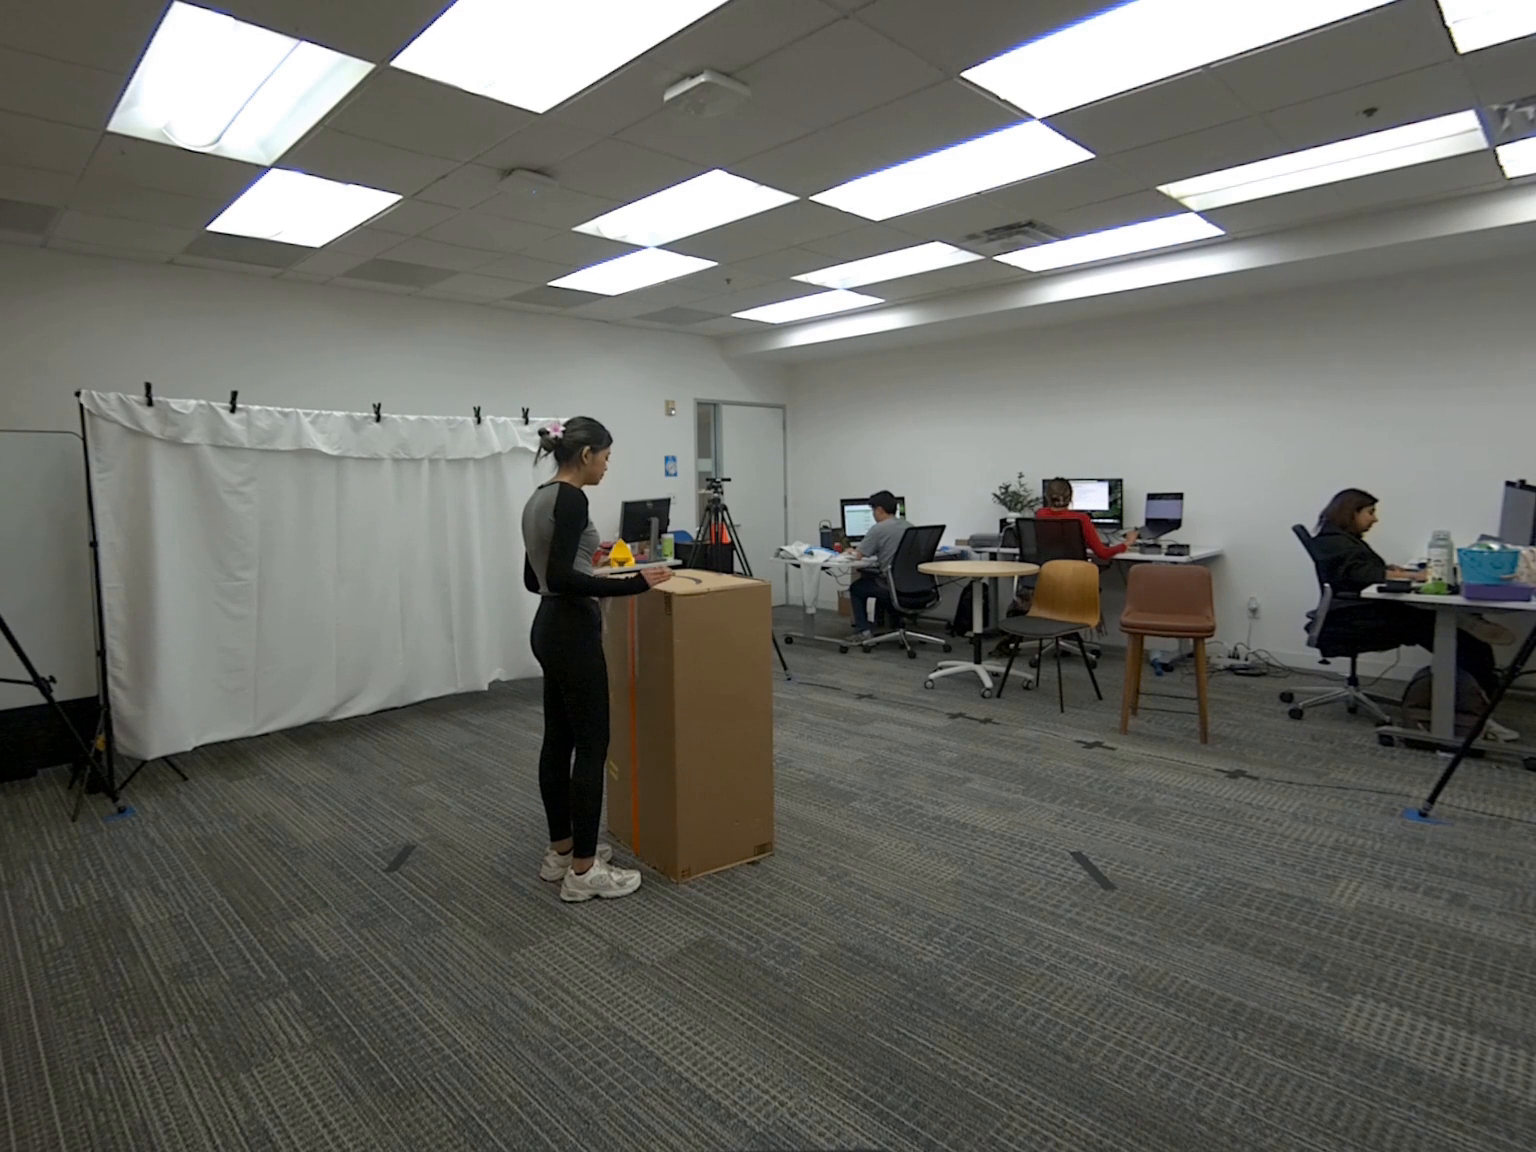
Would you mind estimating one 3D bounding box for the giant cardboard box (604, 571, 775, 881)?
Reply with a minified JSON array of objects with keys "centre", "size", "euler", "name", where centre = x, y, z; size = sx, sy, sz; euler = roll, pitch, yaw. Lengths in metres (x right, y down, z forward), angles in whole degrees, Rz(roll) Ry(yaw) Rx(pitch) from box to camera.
[{"centre":[-0.316,0.521,3.267],"size":[0.435,1.023,0.601],"euler":[-3,5,-35],"name":"giant cardboard box"}]
